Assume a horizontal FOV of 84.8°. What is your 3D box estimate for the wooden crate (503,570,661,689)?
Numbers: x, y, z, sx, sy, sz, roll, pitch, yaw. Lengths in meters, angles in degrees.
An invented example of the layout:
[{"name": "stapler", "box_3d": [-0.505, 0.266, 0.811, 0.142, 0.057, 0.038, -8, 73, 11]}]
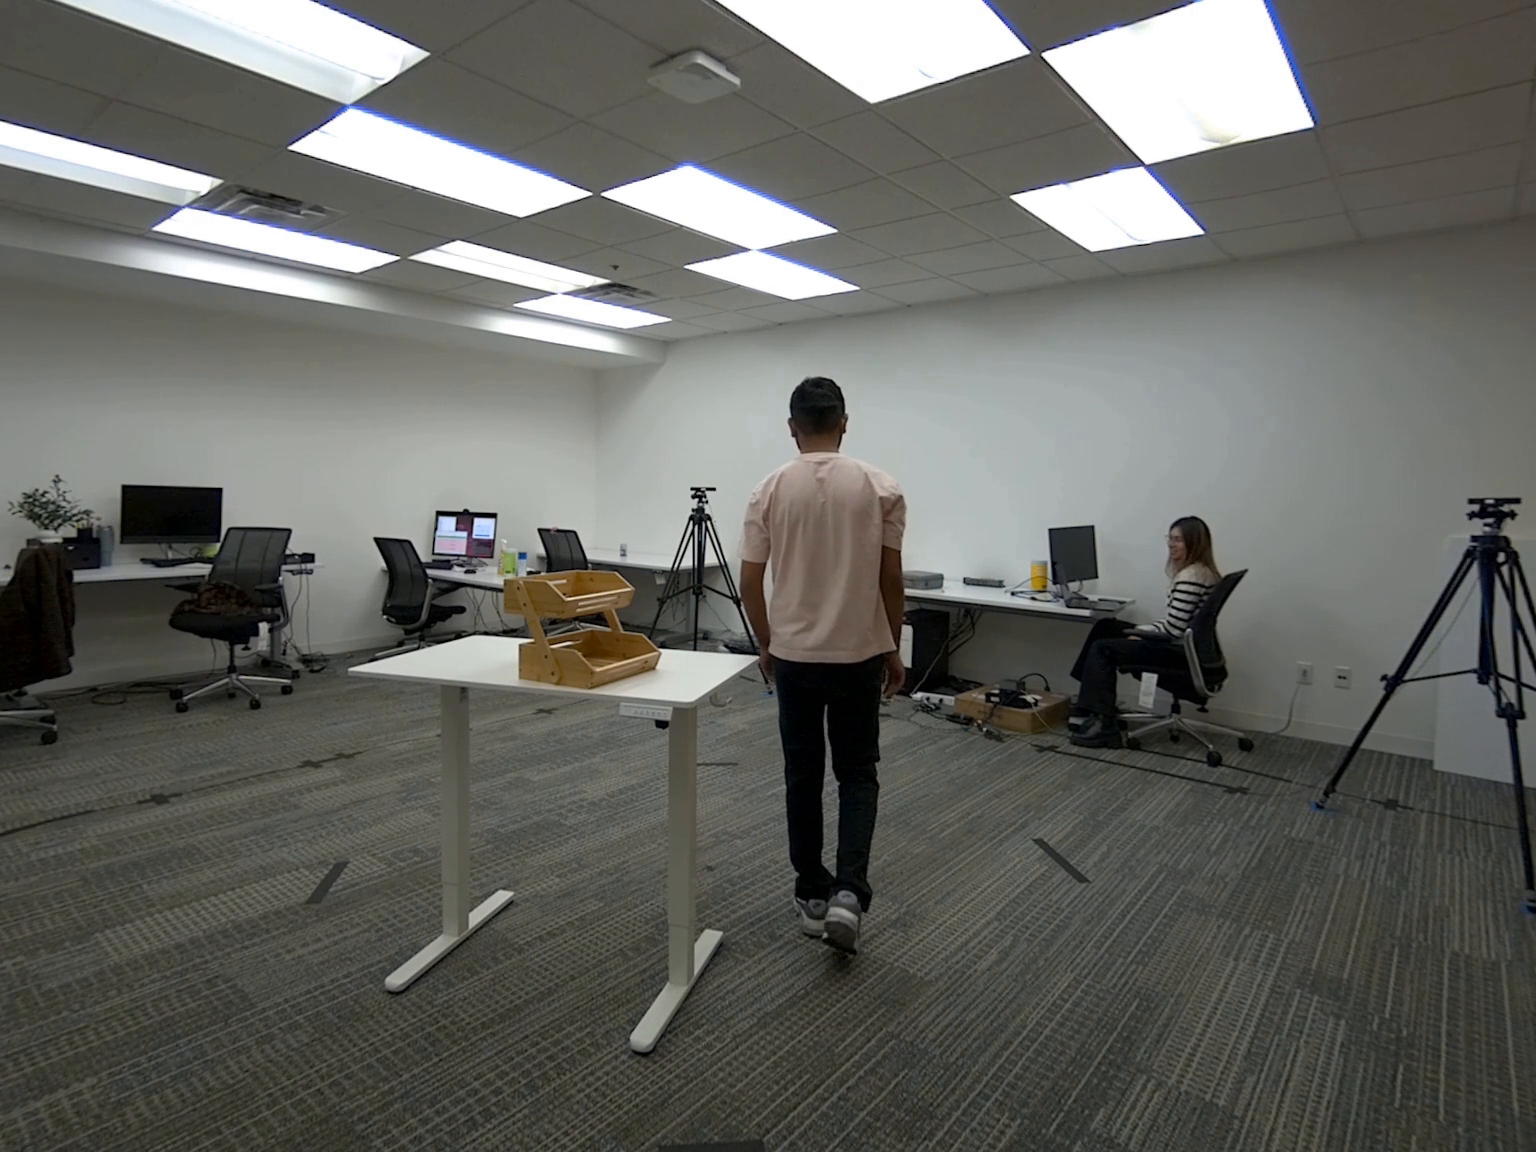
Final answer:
[{"name": "wooden crate", "box_3d": [-0.495, 0.128, 2.294, 0.310, 0.272, 0.316, 3, 5, 28]}]
